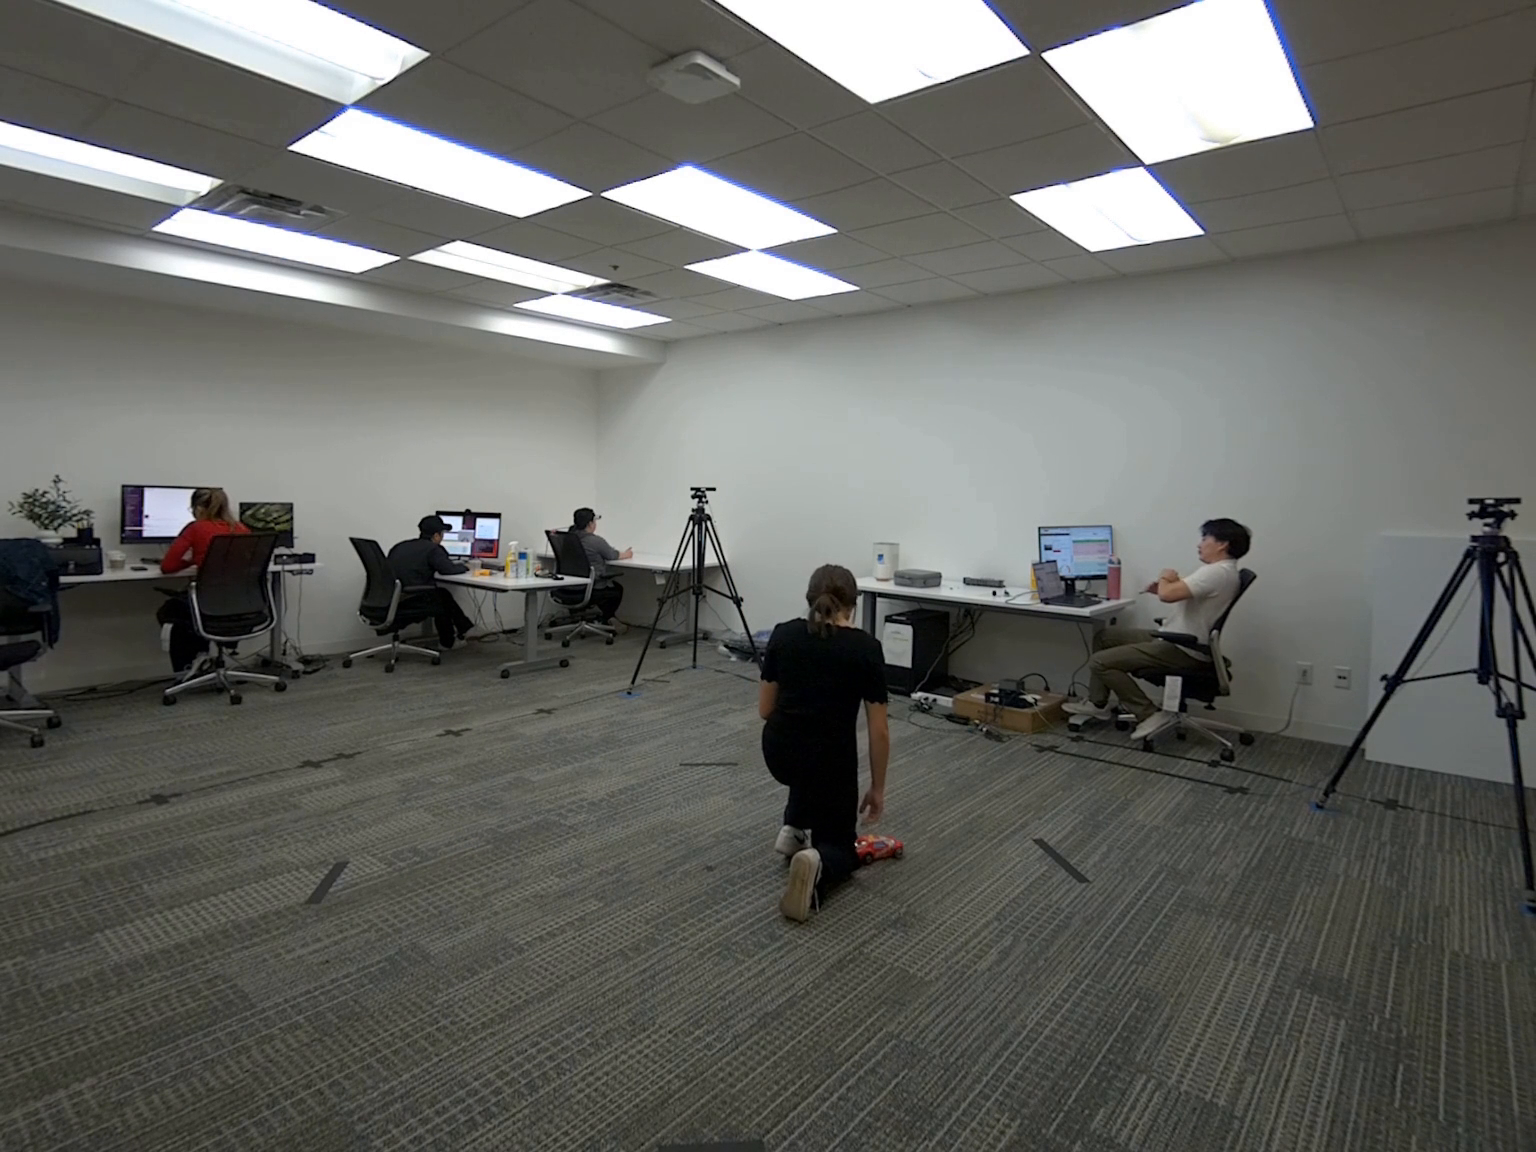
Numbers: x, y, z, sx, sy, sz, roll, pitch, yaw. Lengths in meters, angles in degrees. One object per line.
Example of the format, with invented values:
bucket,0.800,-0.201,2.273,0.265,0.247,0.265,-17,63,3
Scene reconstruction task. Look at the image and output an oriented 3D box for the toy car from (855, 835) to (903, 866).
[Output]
toy car,0.382,1.037,3.231,0.247,0.083,0.134,11,2,-27
